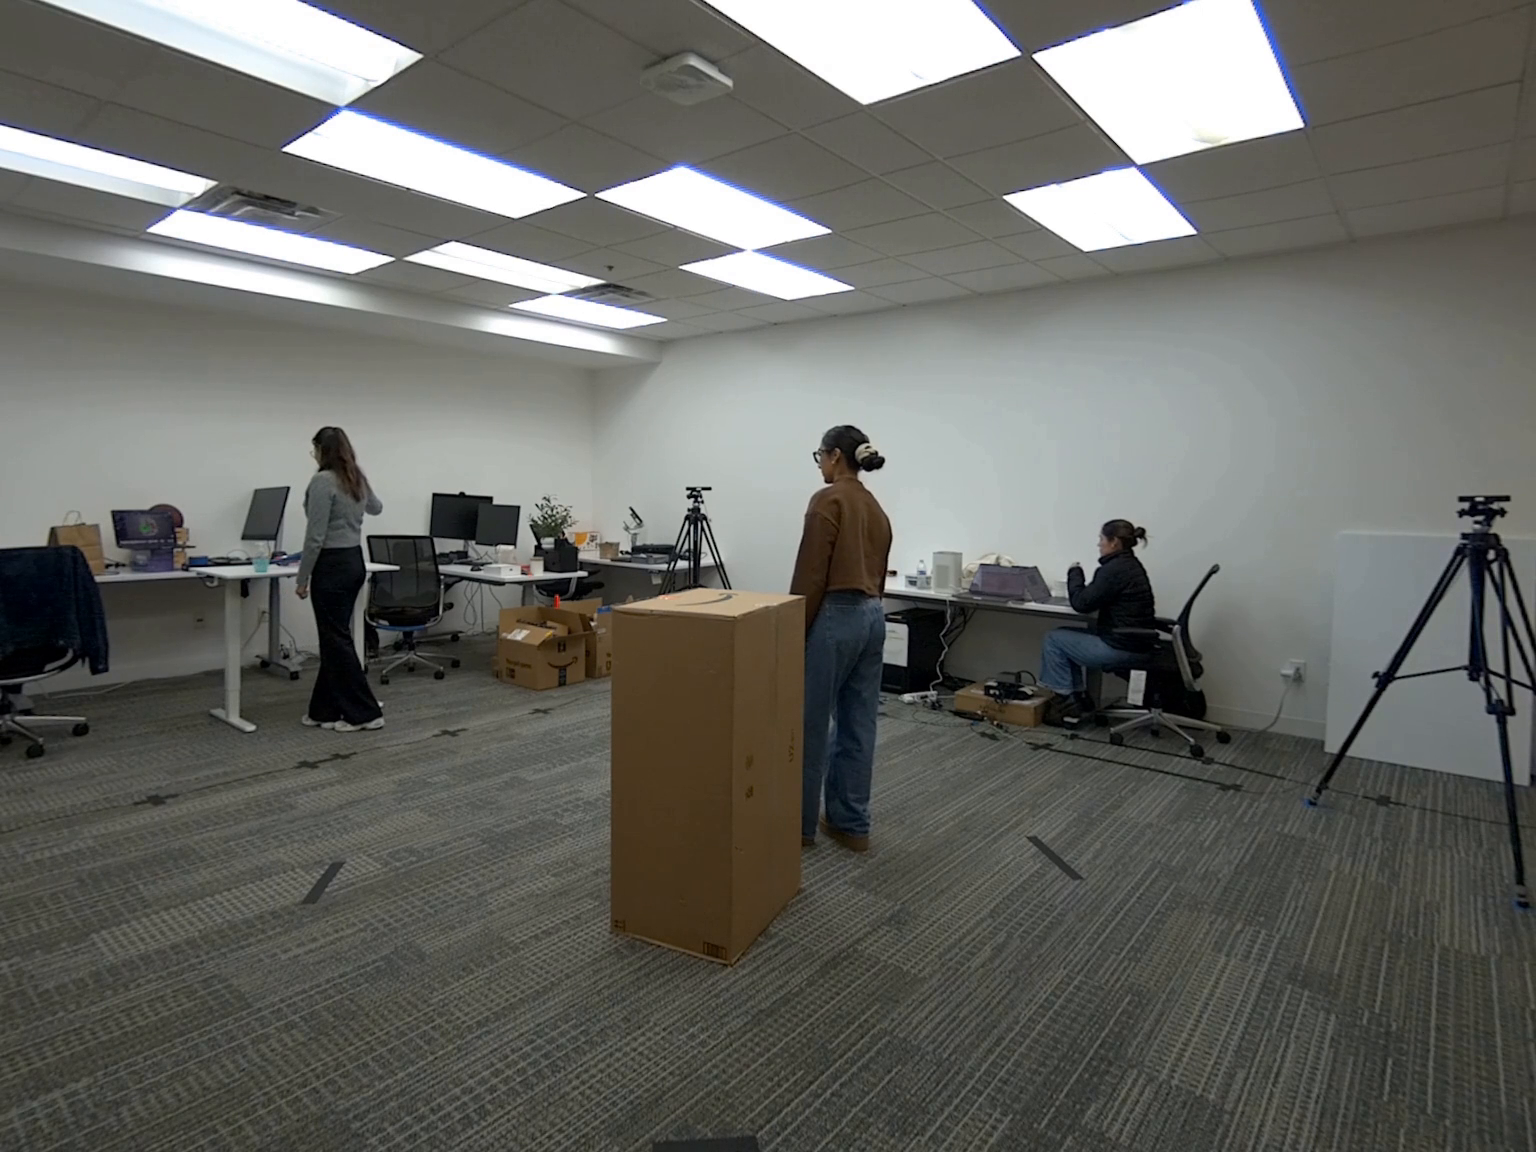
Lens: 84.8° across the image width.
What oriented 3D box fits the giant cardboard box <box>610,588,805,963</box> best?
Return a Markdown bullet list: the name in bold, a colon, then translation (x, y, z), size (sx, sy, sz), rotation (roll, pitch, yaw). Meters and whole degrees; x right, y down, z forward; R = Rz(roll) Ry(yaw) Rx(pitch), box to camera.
- **giant cardboard box**: translation (-0.195, 0.589, 2.780), size (0.437, 1.023, 0.564), rotation (2, 3, 25)
